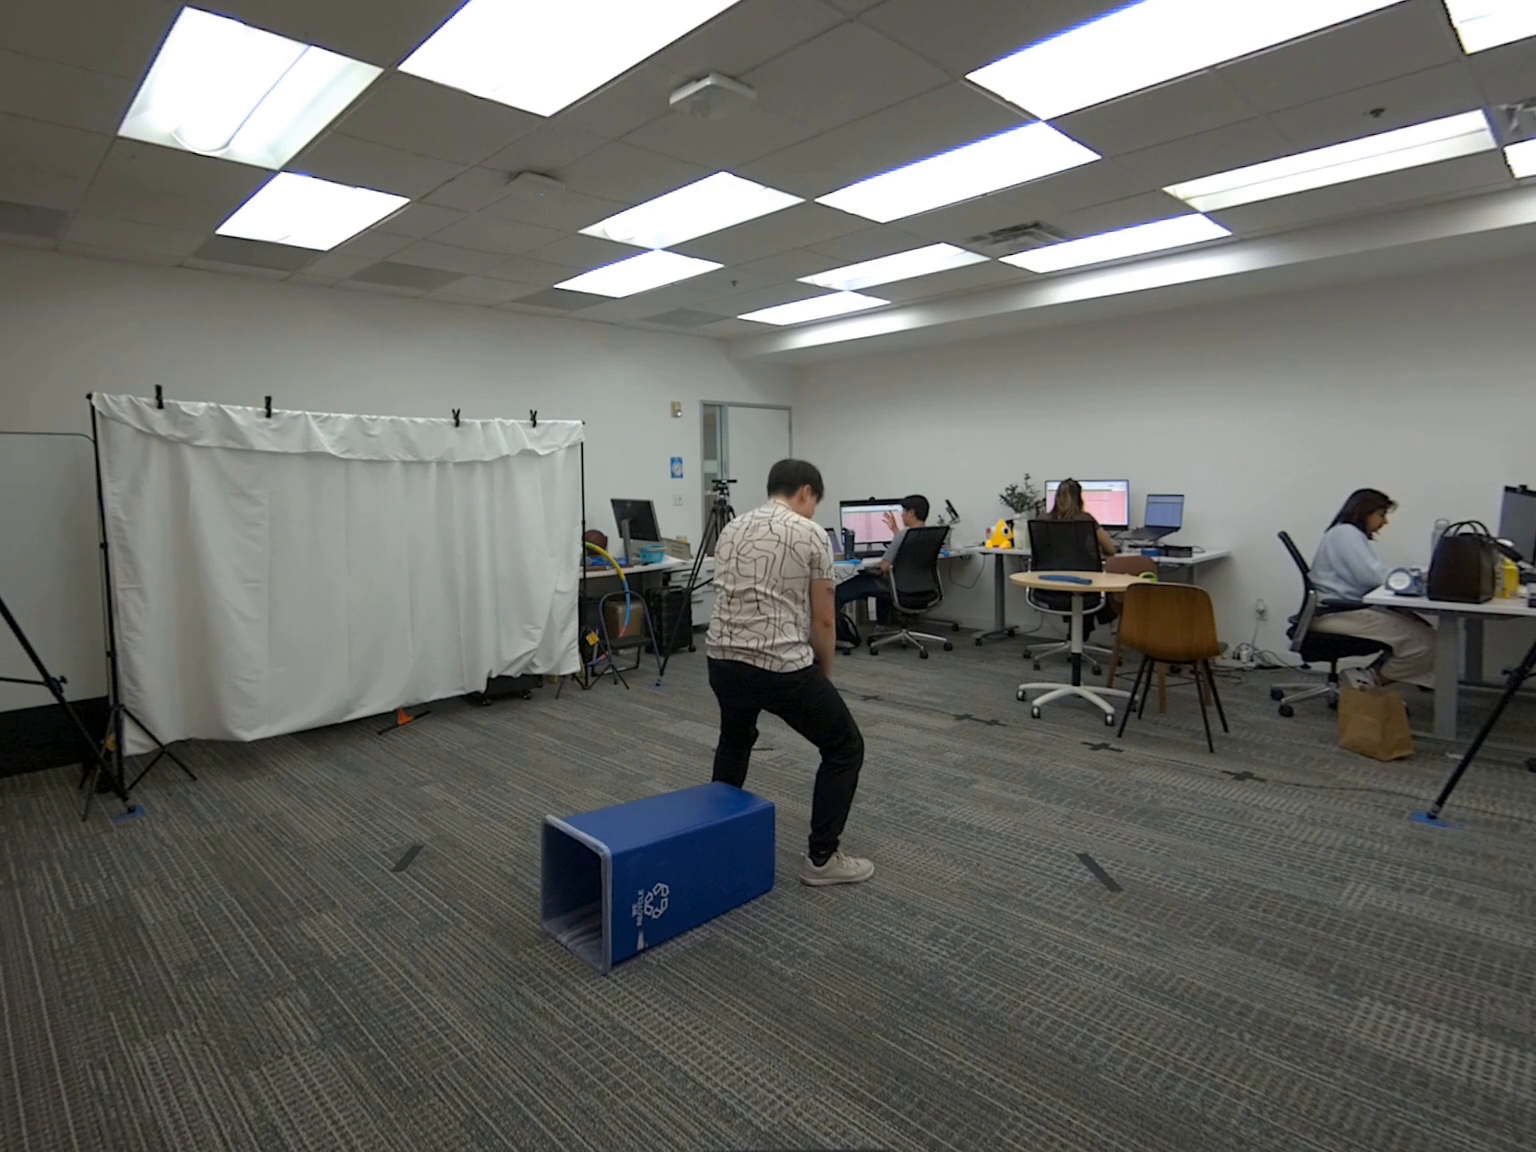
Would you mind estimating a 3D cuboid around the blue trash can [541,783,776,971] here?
[{"bbox_3d":[-0.324,0.919,2.777,0.694,0.377,0.385,-4,5,-42],"label":"blue trash can"}]
